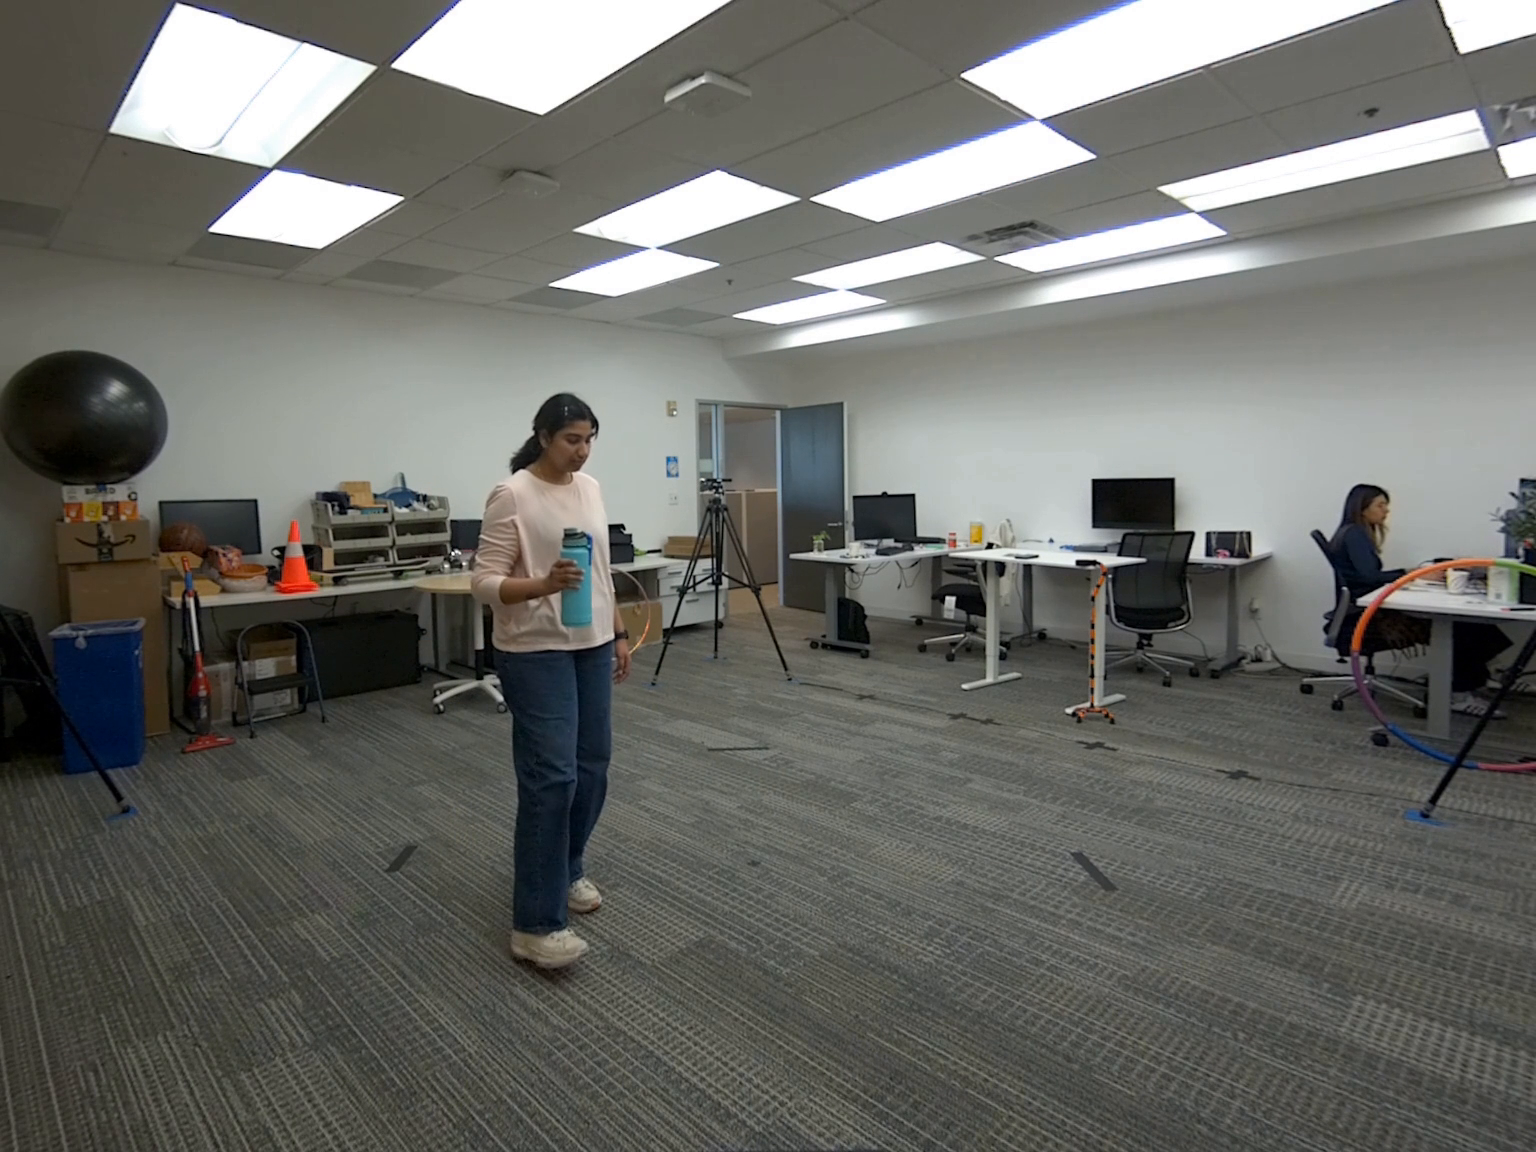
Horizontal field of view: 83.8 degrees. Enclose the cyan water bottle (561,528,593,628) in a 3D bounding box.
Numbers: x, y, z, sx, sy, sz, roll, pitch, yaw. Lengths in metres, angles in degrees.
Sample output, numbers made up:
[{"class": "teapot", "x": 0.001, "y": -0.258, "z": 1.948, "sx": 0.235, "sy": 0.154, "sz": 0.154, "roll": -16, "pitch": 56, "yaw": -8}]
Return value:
[{"class": "cyan water bottle", "x": -0.555, "y": 0.000, "z": 2.474, "sx": 0.092, "sy": 0.282, "sz": 0.093, "roll": 3, "pitch": 6, "yaw": -2}]
